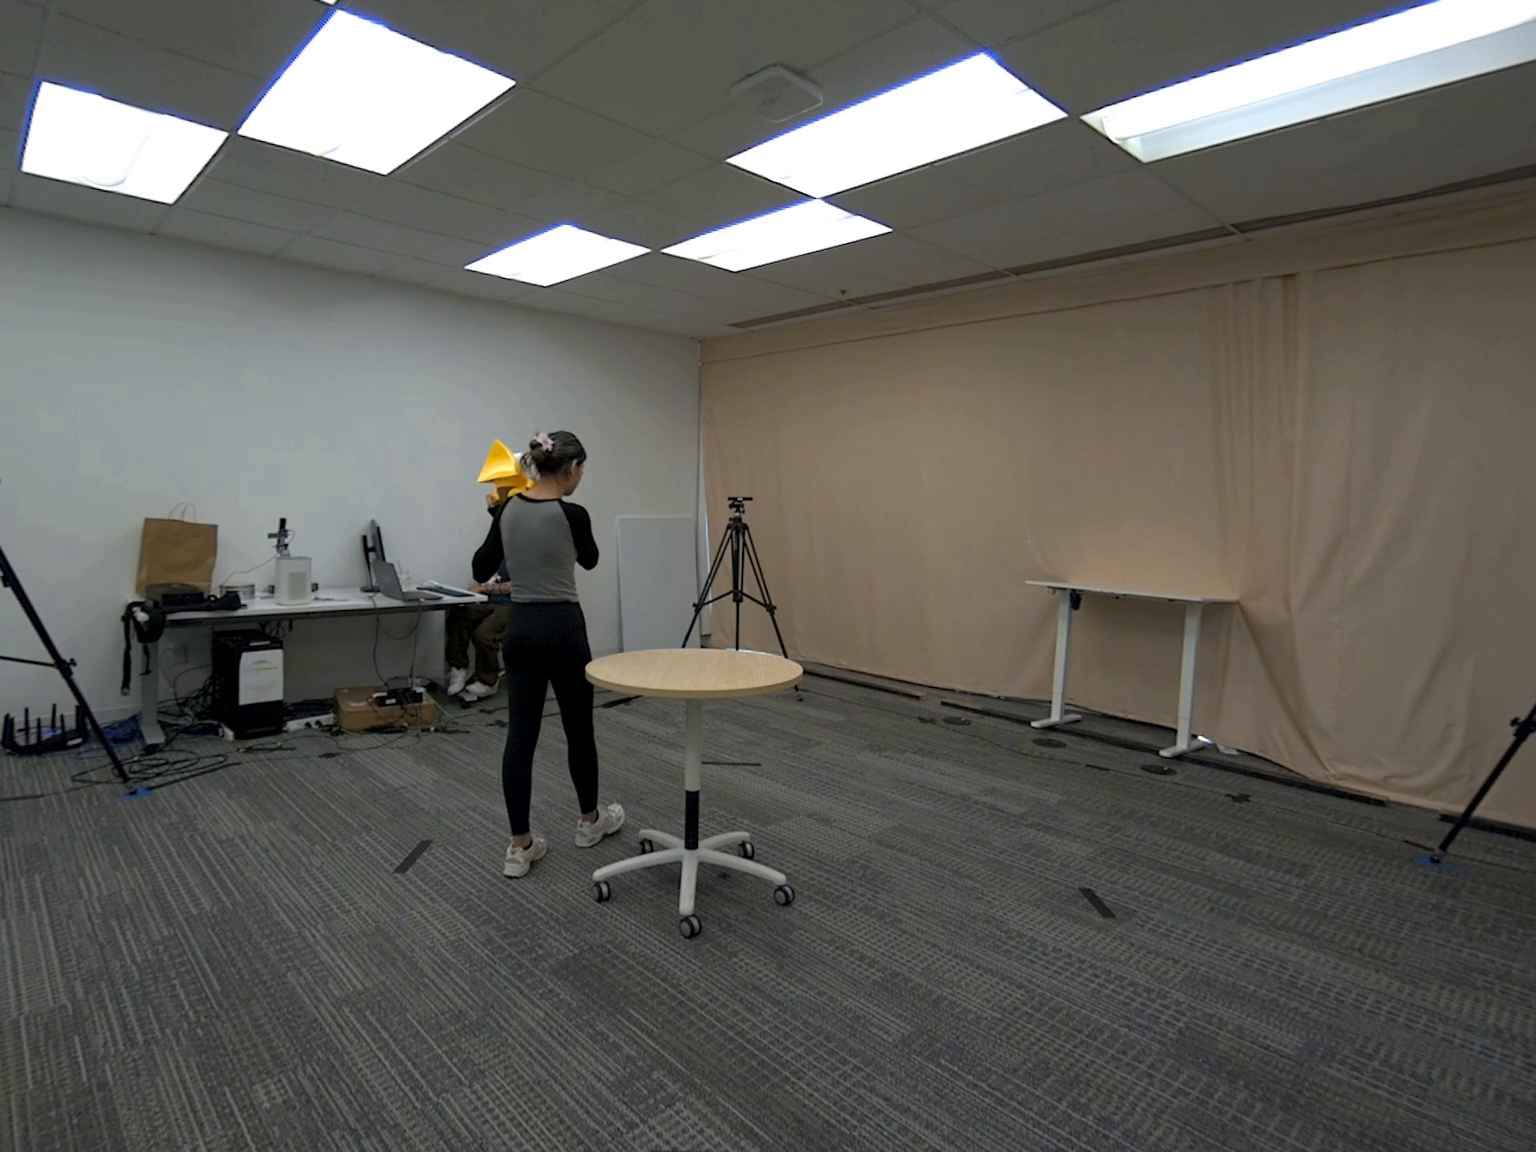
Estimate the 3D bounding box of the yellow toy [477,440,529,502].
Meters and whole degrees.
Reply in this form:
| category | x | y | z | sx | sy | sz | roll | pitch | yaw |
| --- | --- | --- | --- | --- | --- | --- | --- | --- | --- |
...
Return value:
| category | x | y | z | sx | sy | sz | roll | pitch | yaw |
| --- | --- | --- | --- | --- | --- | --- | --- | --- | --- |
| yellow toy | -1.000 | -0.419 | 3.278 | 0.208 | 0.230 | 0.190 | -7 | 3 | 28 |
